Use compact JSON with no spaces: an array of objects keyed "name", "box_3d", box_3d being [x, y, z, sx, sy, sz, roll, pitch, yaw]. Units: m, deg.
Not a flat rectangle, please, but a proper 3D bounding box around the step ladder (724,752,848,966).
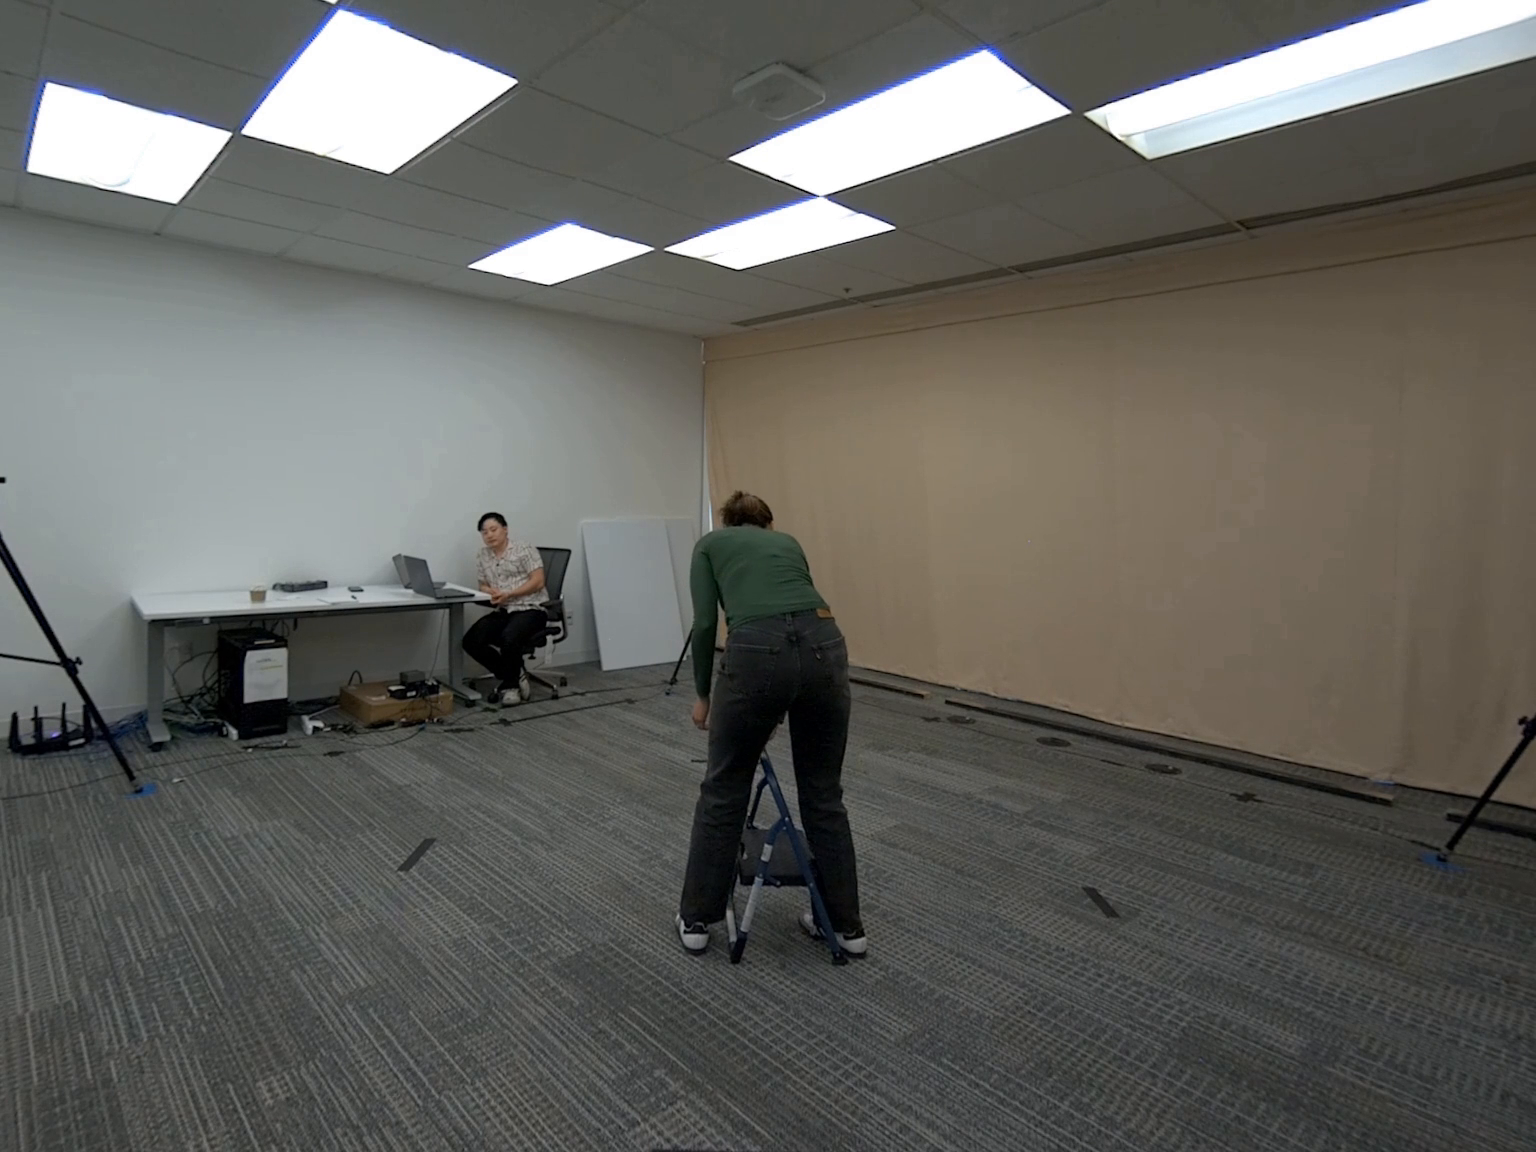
[{"name":"step ladder","box_3d":[0.035,0.845,2.702,0.348,0.604,0.434,0,5,-5]}]
